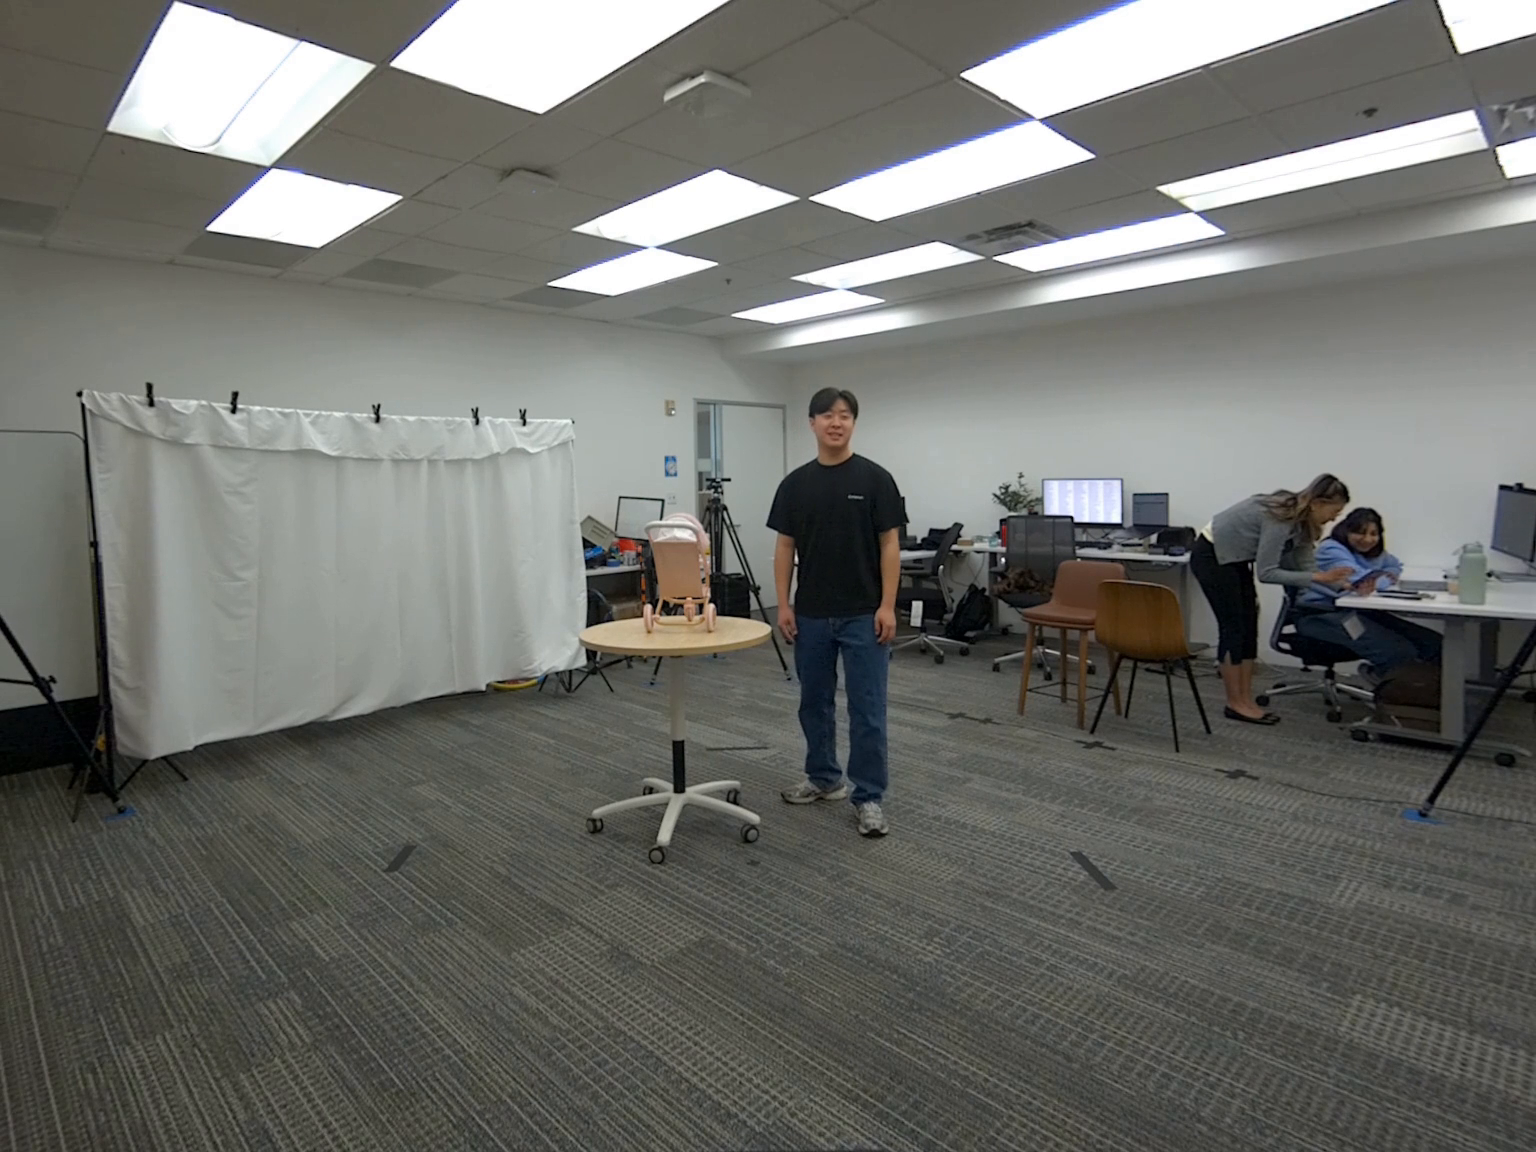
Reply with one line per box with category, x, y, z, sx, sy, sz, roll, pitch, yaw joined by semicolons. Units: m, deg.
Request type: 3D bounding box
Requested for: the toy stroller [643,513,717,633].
toy stroller;-0.347;-0.011;3.427;0.284;0.526;0.344;0;18;9
